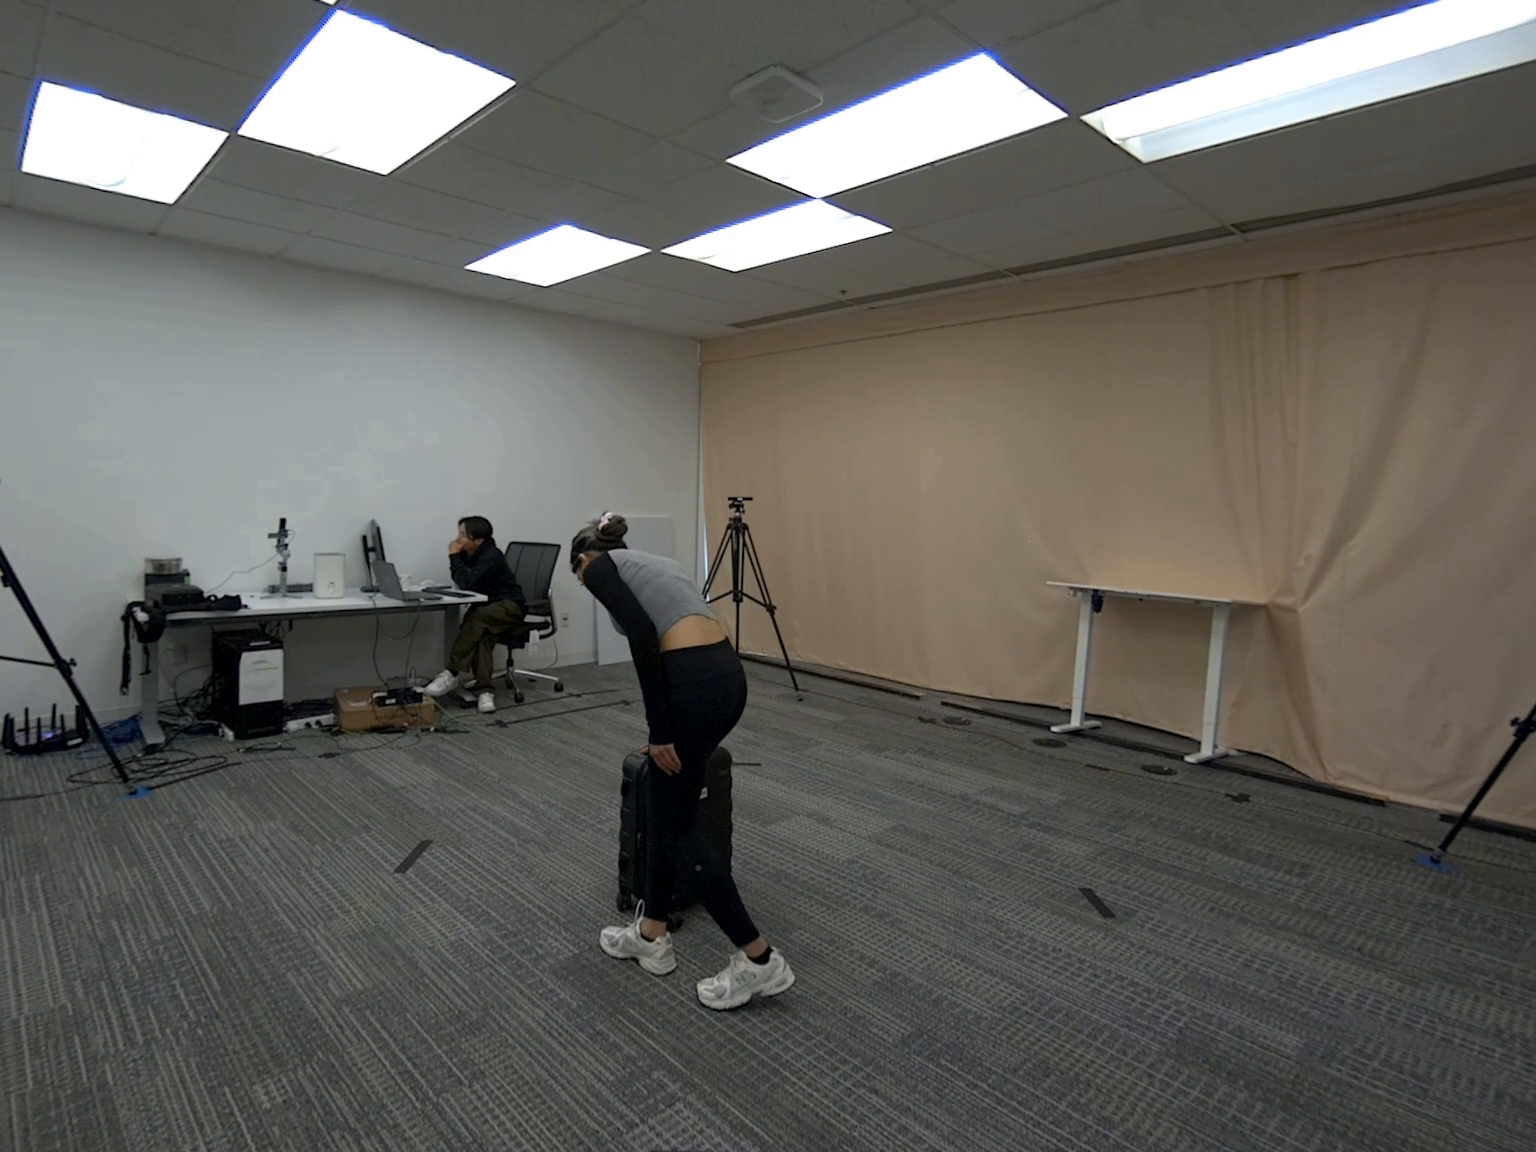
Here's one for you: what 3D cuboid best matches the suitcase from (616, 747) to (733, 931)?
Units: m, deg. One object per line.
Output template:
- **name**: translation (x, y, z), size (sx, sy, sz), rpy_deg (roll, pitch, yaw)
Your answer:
- **suitcase**: translation (-0.317, 0.850, 2.891), size (0.254, 0.548, 0.367), rpy_deg (3, 3, 38)
